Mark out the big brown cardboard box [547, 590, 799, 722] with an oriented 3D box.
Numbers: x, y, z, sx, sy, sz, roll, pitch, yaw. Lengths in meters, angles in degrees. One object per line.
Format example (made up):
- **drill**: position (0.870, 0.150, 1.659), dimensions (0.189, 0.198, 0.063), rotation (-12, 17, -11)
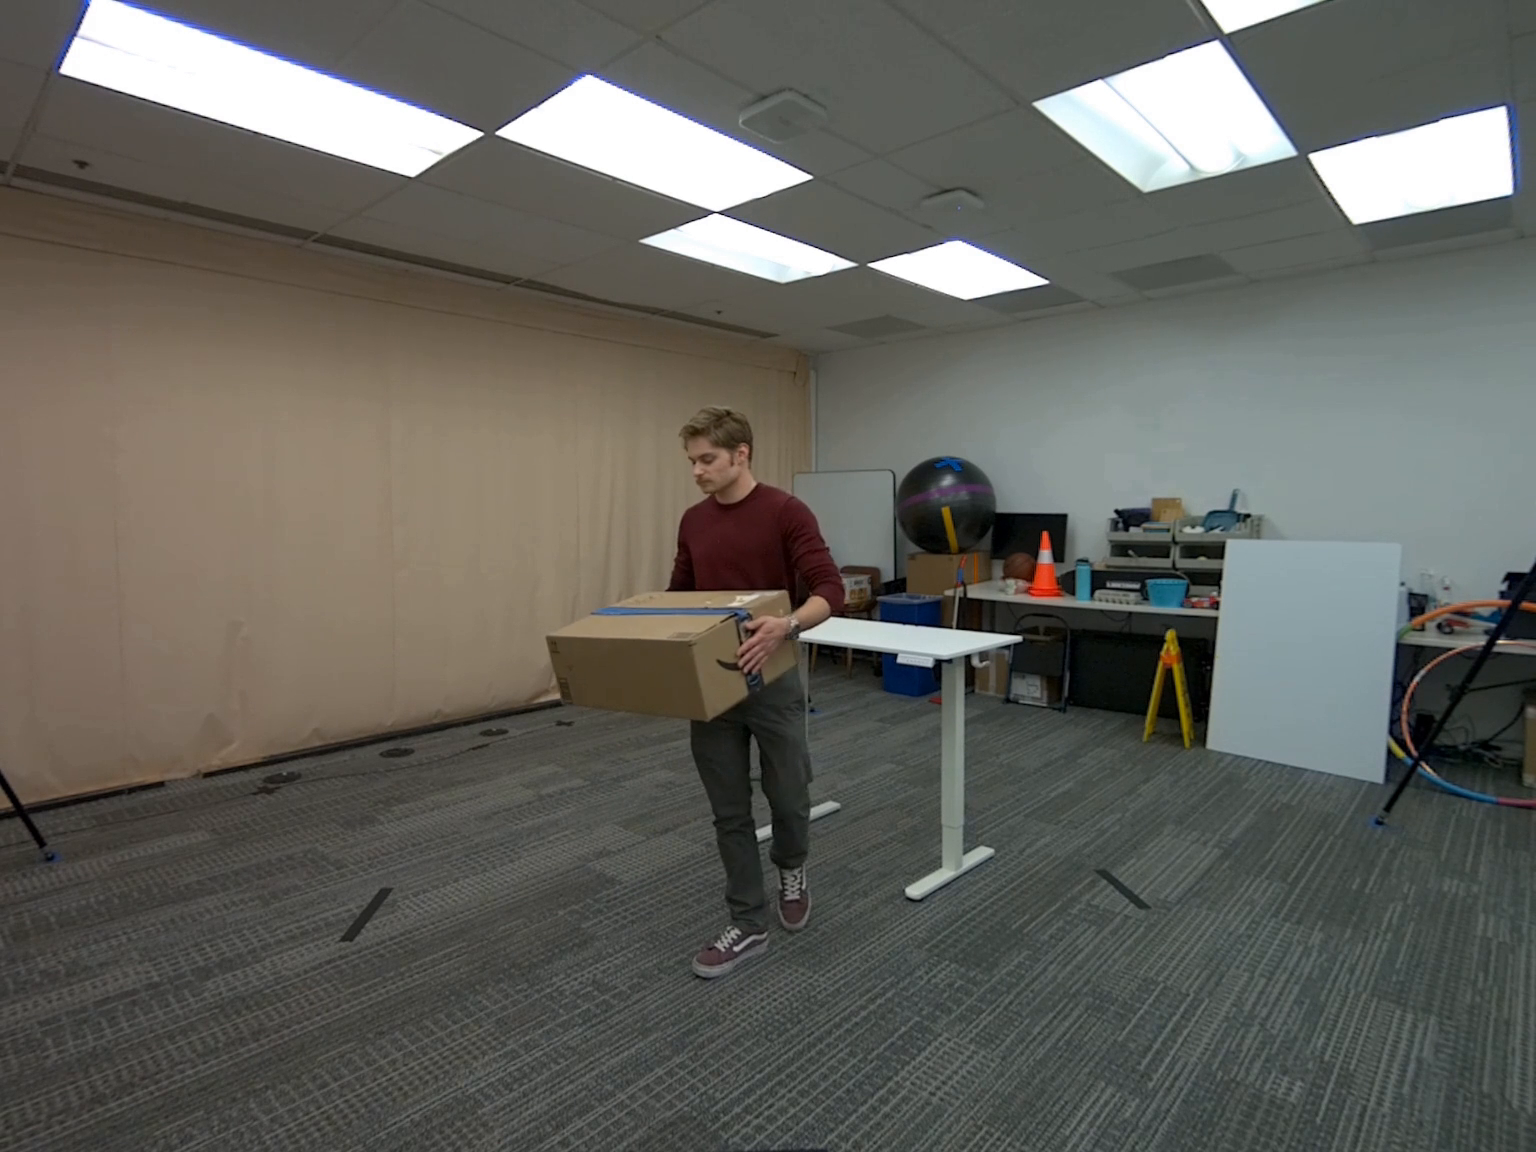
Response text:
- **big brown cardboard box**: position (-0.274, 0.208, 2.380), dimensions (0.607, 0.231, 0.408), rotation (-3, 14, 38)
